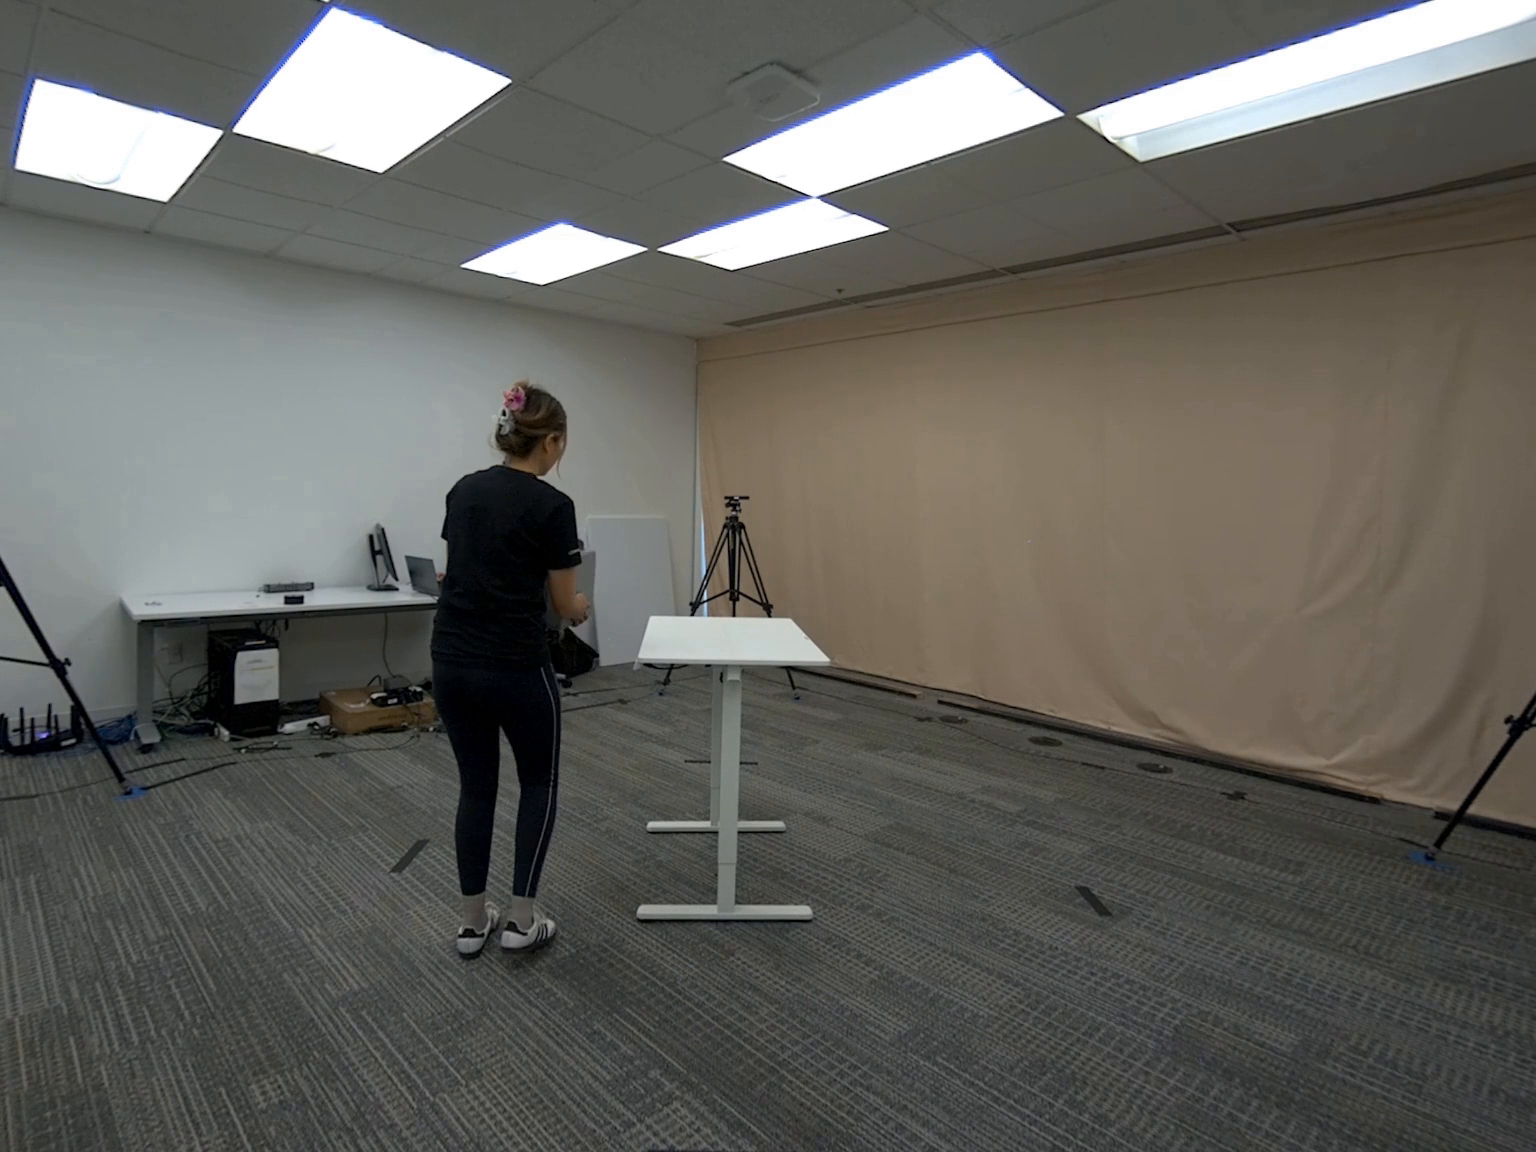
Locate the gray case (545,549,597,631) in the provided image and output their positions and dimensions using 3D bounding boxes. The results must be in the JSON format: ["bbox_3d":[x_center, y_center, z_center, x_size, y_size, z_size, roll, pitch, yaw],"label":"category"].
[{"bbox_3d":[-0.685,0.038,2.862,0.105,0.258,0.256,7,12,13],"label":"gray case"}]
